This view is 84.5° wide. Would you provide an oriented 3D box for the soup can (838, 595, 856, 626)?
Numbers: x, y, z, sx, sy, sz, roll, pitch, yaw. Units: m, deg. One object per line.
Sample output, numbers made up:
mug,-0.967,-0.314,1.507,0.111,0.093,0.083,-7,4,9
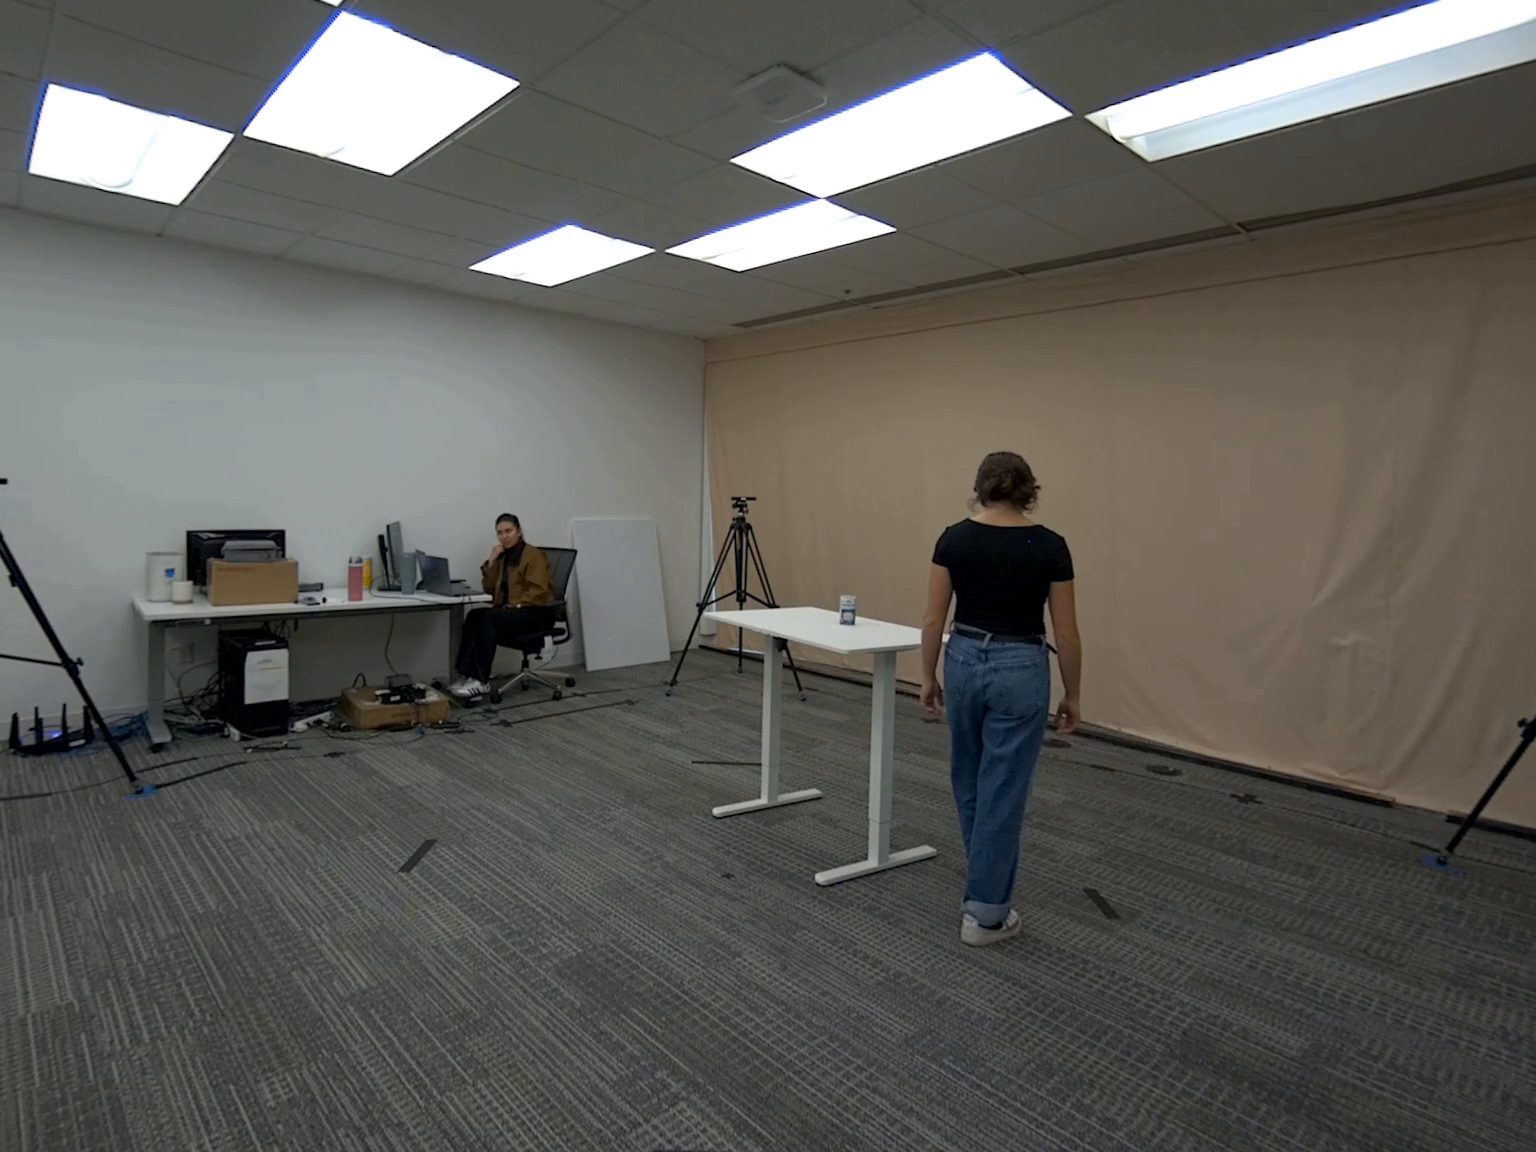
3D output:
soup can,0.323,0.142,3.508,0.067,0.121,0.067,0,4,-1
